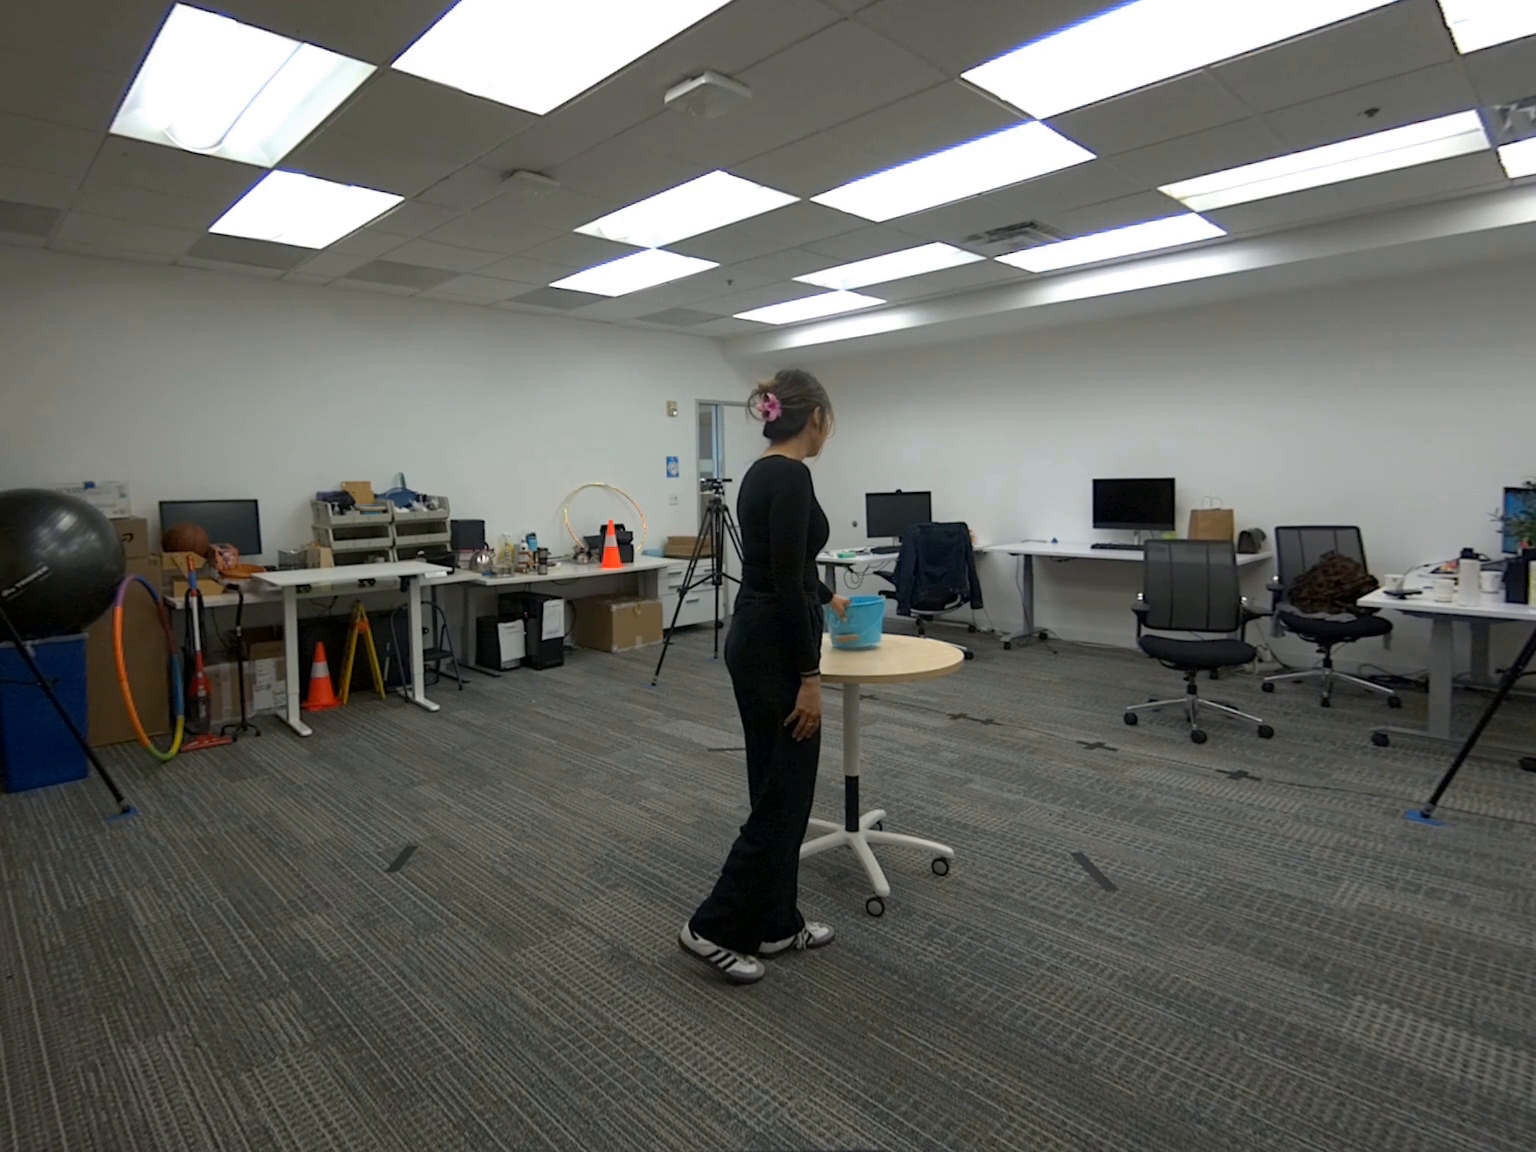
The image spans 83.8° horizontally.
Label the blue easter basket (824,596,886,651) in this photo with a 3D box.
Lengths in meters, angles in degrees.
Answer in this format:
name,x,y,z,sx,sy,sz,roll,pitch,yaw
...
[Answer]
name,x,y,z,sx,sy,sz,roll,pitch,yaw
blue easter basket,0.309,0.168,3.074,0.243,0.155,0.245,-4,5,-1
